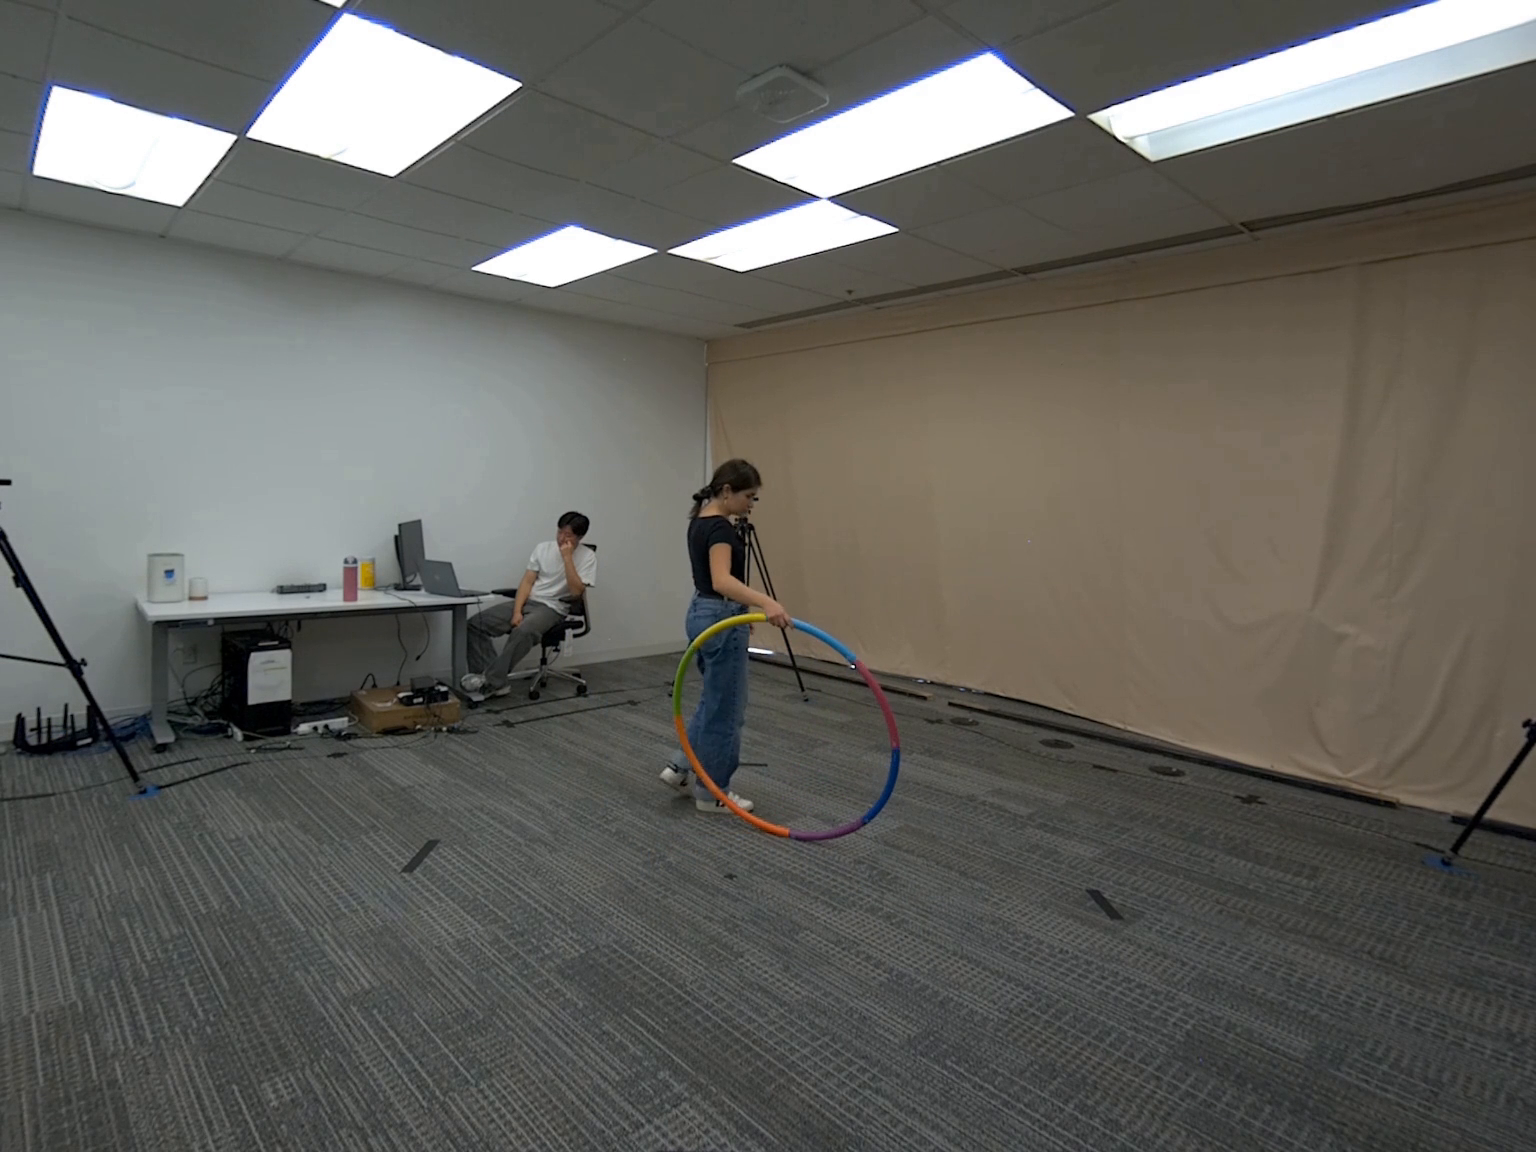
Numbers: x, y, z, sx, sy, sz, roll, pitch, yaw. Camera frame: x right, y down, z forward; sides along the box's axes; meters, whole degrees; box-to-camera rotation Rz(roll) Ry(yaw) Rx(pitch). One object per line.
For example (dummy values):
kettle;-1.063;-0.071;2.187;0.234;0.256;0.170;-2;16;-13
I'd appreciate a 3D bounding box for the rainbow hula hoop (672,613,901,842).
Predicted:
rainbow hula hoop;0.038;0.617;3.345;0.999;0.966;0.035;4;18;28
